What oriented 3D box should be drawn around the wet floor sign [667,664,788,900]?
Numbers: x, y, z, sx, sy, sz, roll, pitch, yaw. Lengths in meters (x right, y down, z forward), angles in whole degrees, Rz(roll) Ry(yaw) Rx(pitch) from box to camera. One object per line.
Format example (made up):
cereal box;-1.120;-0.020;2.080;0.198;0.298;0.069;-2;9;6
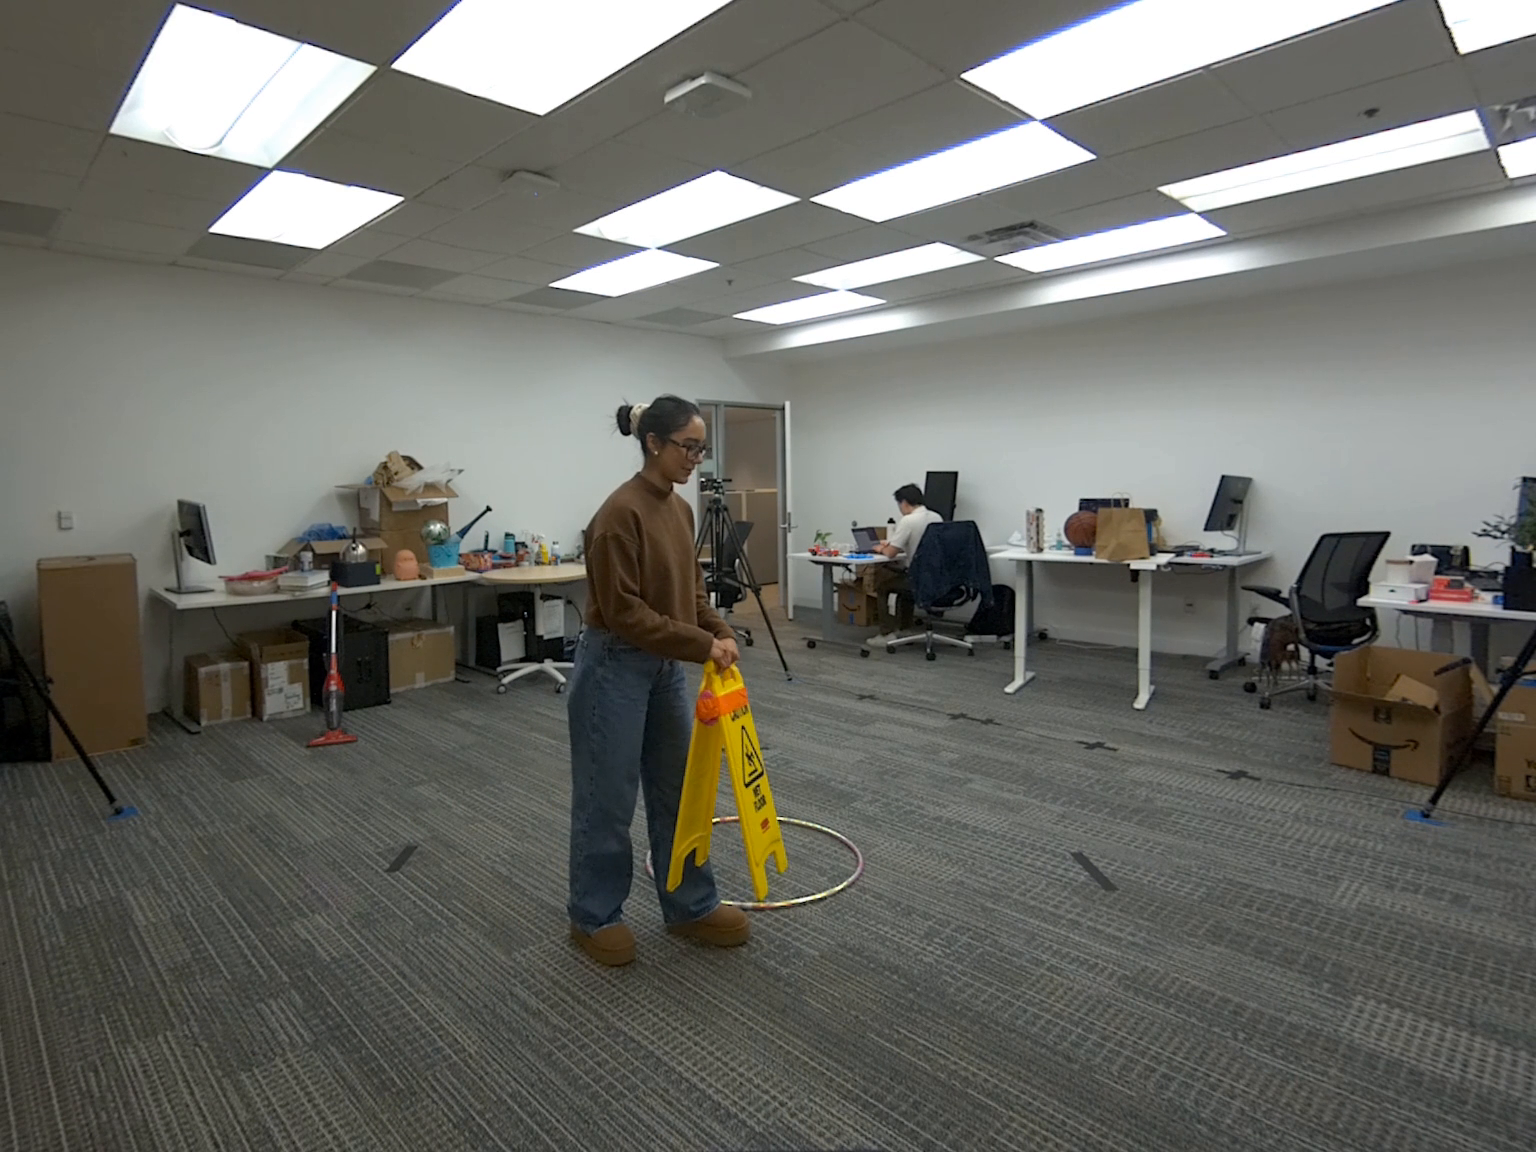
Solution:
wet floor sign;-0.114;0.538;2.443;0.295;0.646;0.277;-2;0;18
